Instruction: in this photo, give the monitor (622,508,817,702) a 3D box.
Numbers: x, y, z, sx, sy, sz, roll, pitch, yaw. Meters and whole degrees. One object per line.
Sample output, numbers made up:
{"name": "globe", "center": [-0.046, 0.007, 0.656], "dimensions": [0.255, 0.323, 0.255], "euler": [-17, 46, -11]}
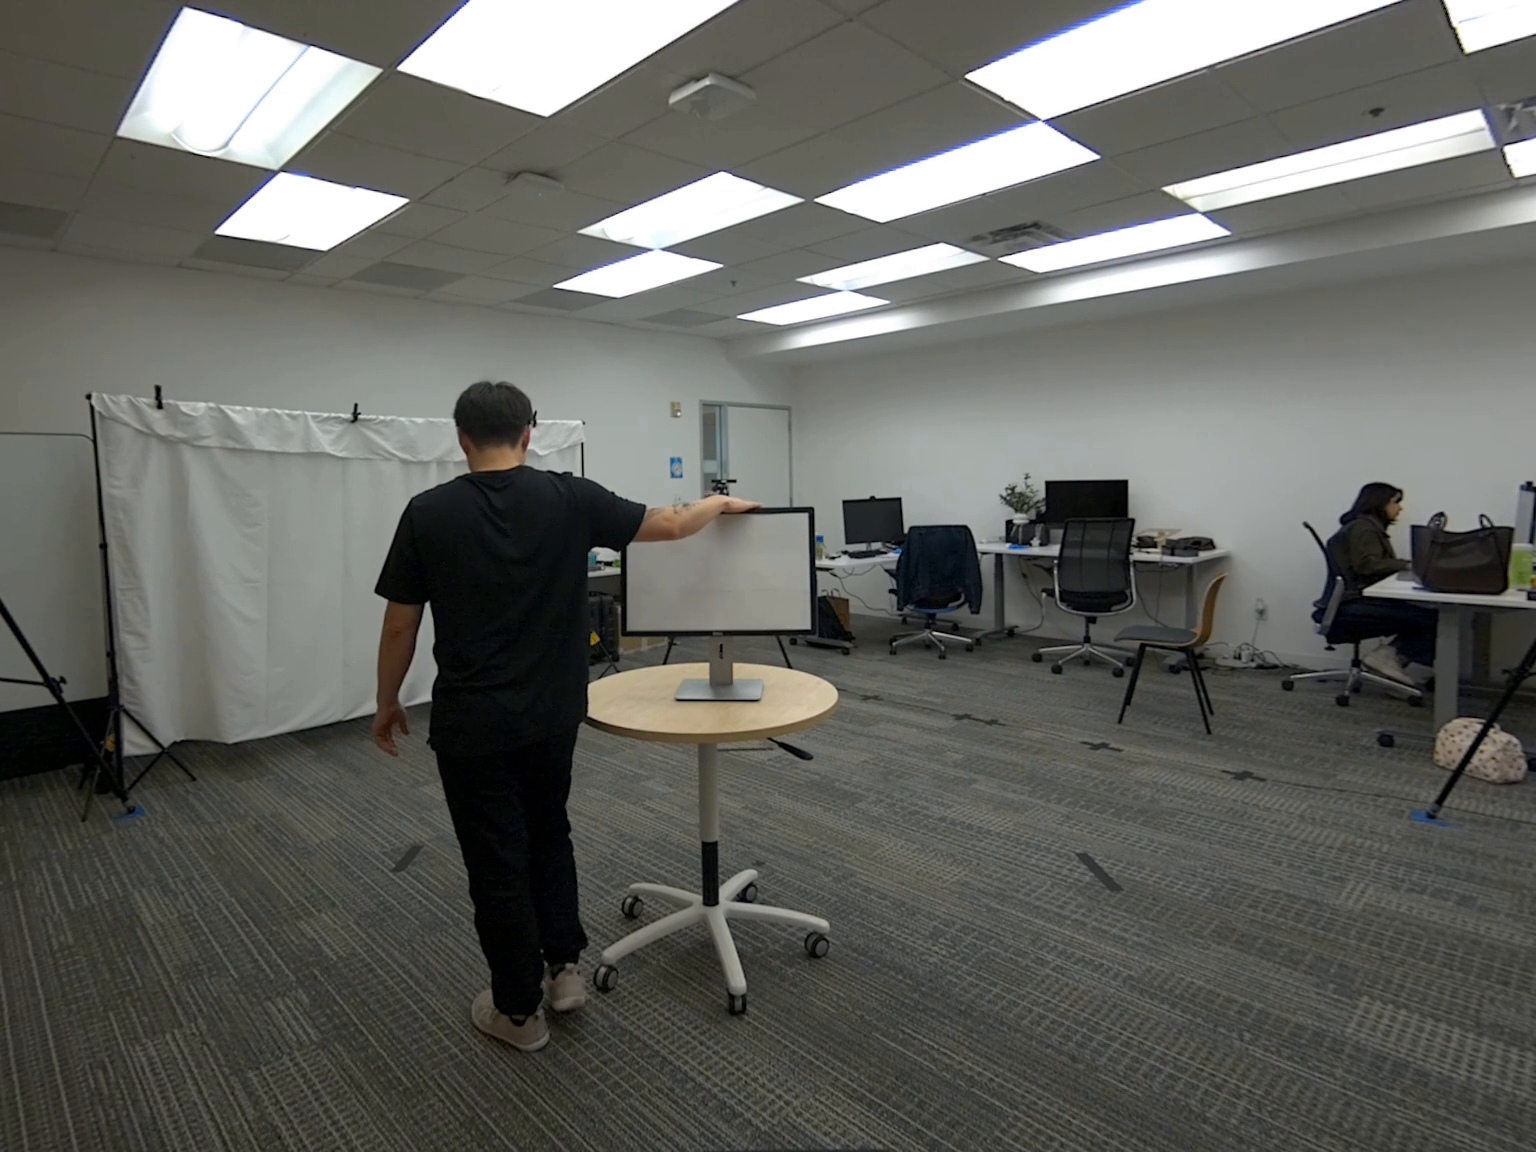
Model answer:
{"name": "monitor", "center": [-0.140, 0.079, 2.487], "dimensions": [0.540, 0.519, 0.188], "euler": [-1, 6, 2]}
